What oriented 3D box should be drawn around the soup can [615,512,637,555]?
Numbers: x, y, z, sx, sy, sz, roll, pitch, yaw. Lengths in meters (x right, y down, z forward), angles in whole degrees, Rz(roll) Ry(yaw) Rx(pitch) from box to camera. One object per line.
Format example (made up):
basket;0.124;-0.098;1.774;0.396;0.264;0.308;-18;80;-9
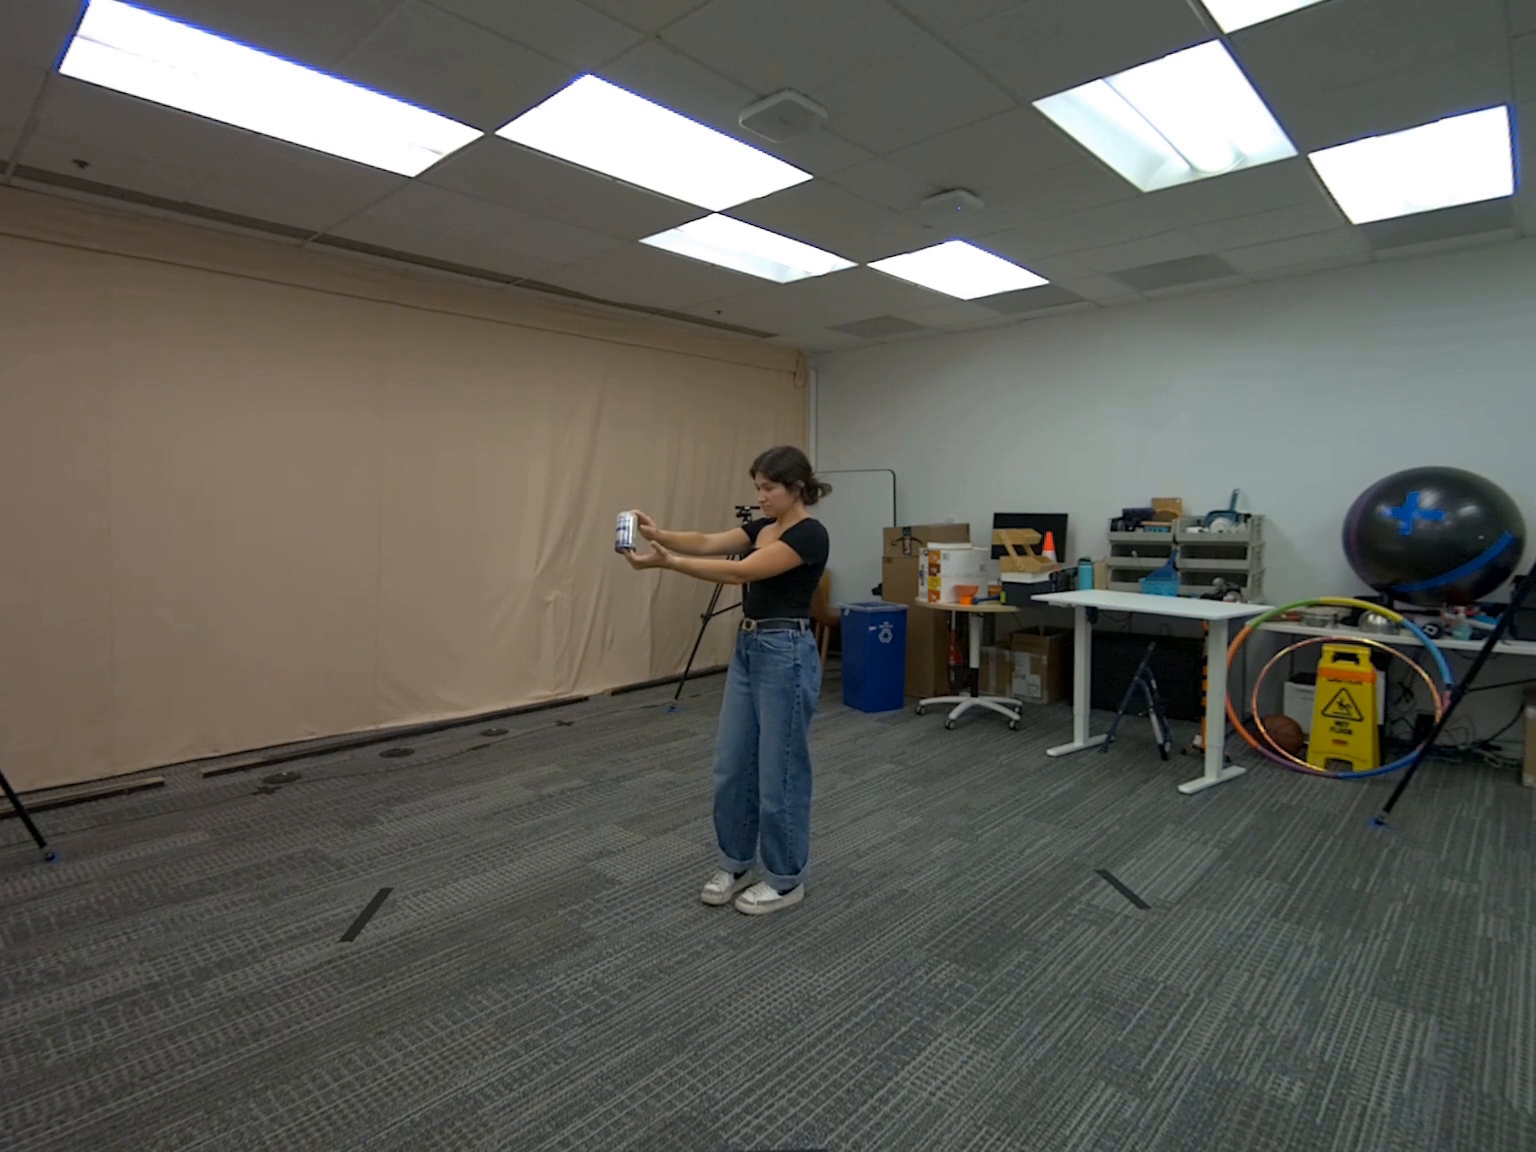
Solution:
soup can;-0.437;-0.135;2.612;0.067;0.123;0.066;-2;-23;-3
